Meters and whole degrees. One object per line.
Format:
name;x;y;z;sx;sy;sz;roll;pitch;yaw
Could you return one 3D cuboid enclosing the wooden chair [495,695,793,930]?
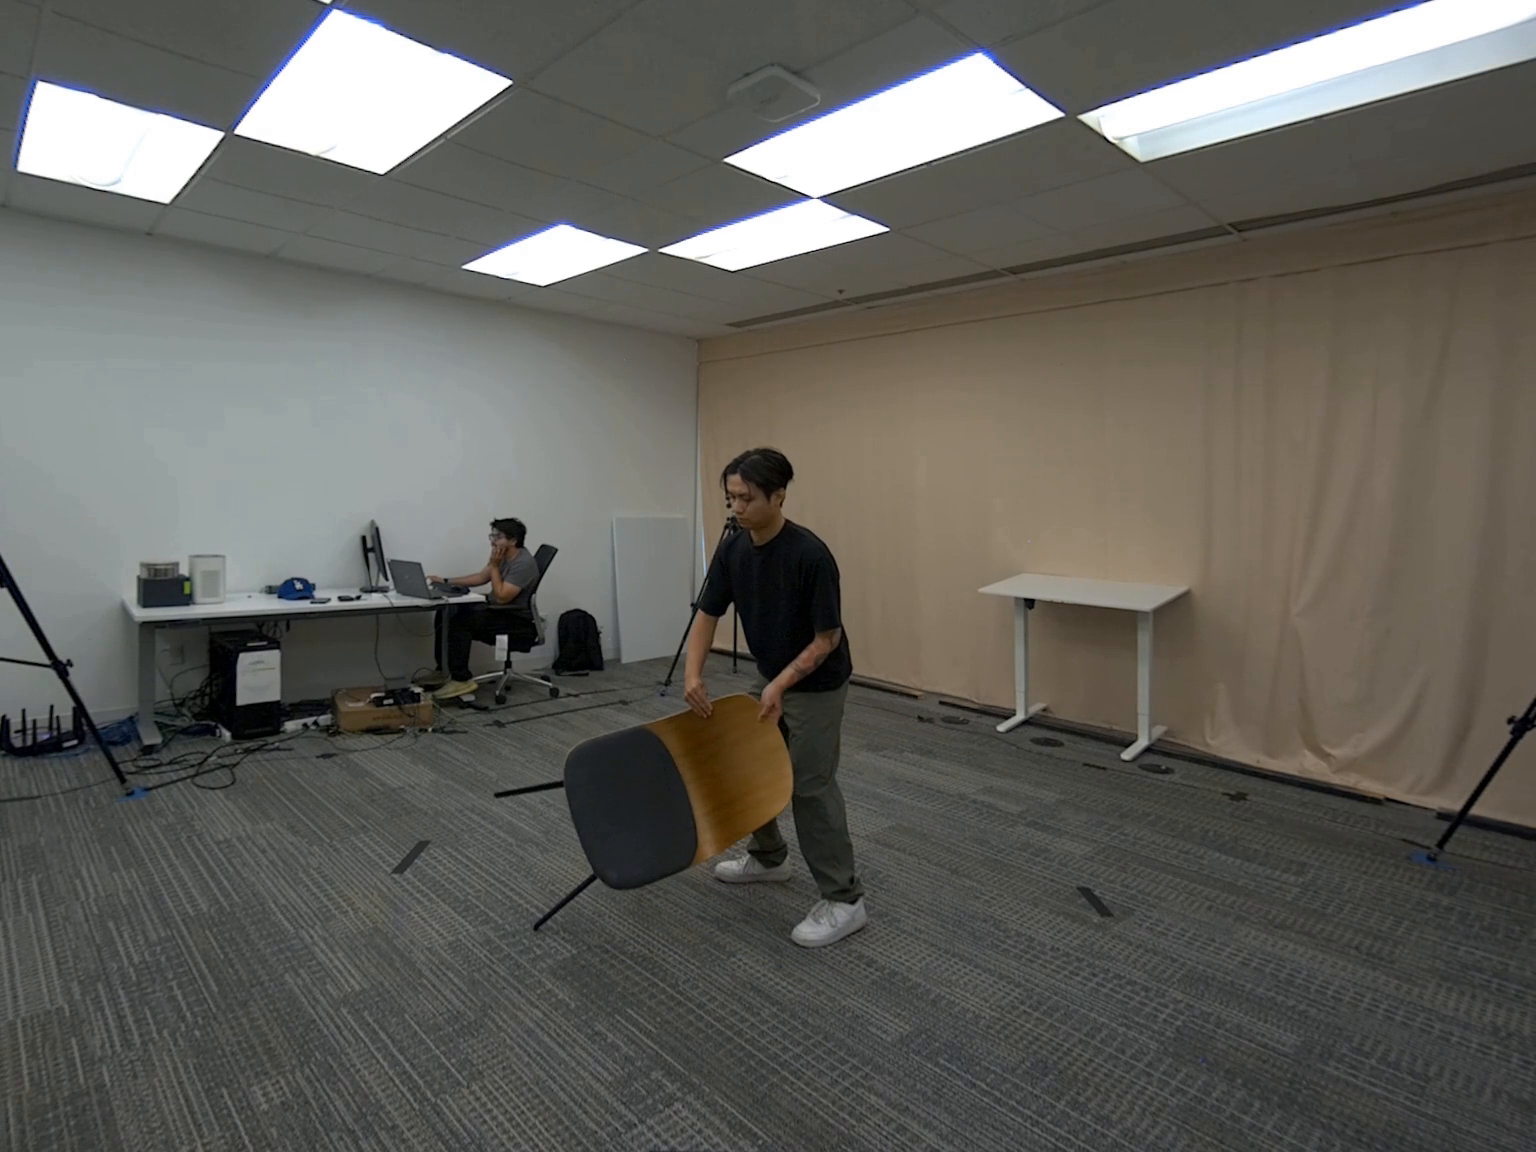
wooden chair;-0.412;0.728;2.656;0.883;0.486;0.511;-33;-19;32
